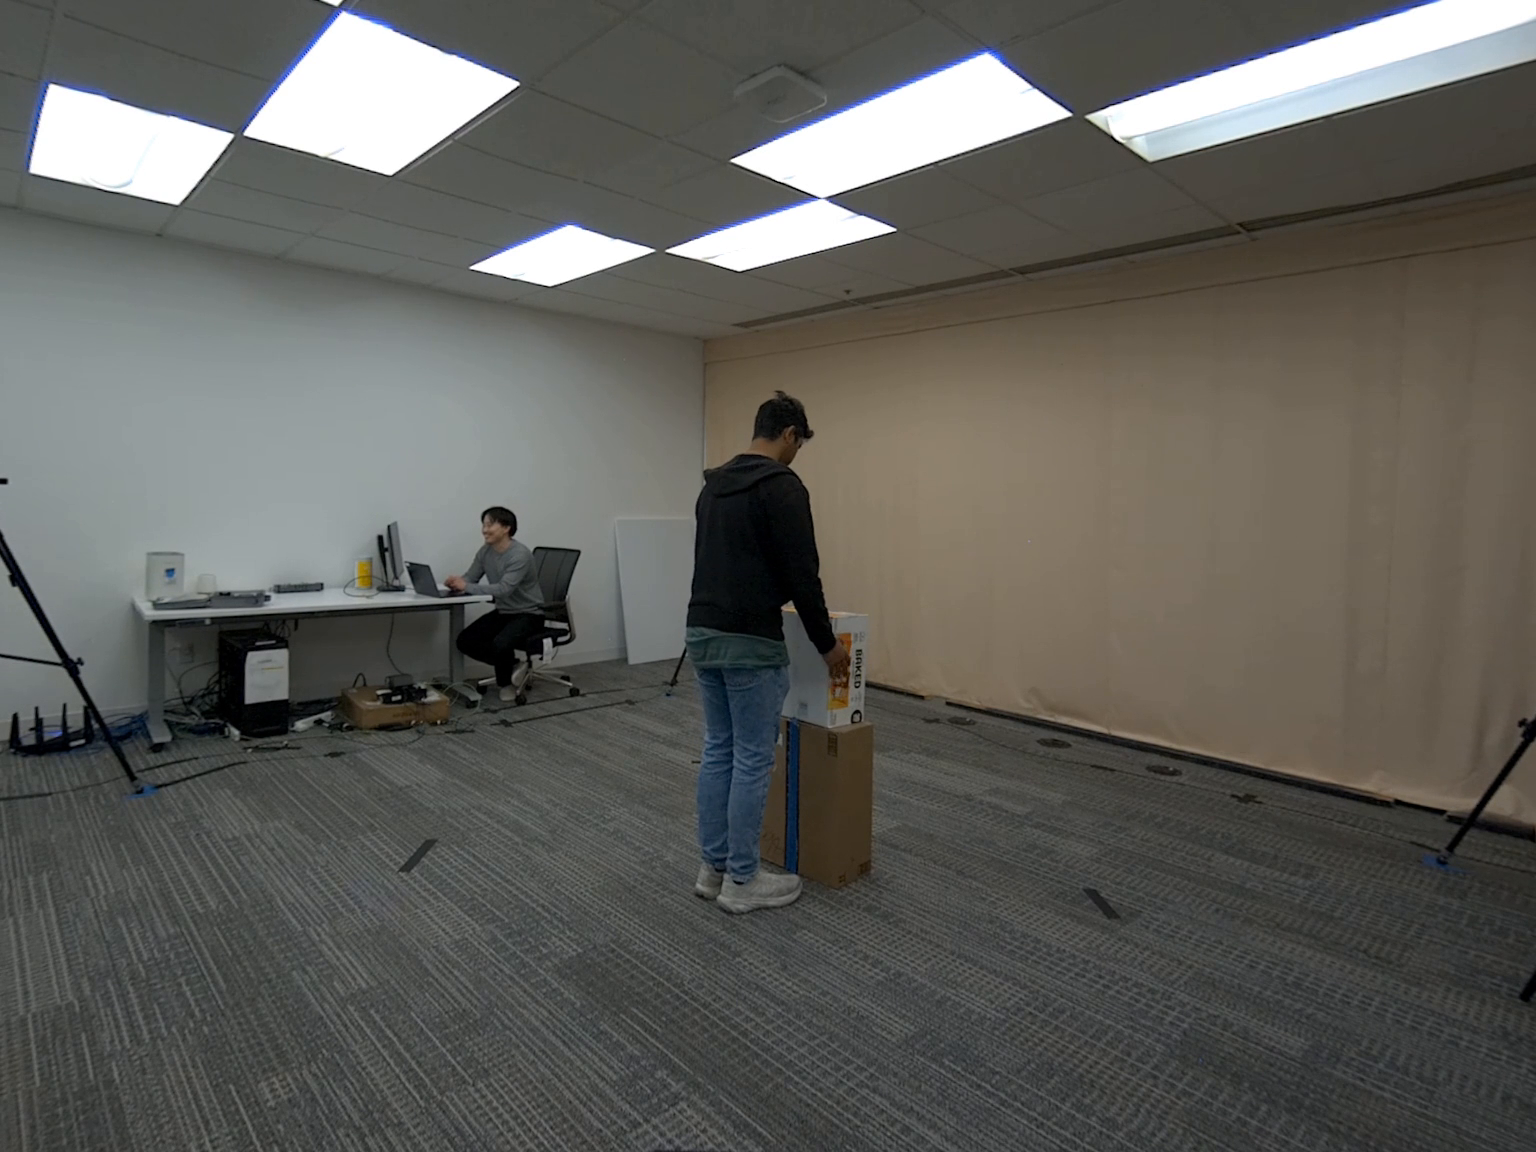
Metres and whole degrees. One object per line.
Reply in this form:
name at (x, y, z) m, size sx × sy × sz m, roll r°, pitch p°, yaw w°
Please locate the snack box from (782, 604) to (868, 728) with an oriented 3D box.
snack box at (0.171, 0.336, 3.217) m, size 0.201 × 0.404 × 0.349 m, roll 1°, pitch 3°, yaw -42°
